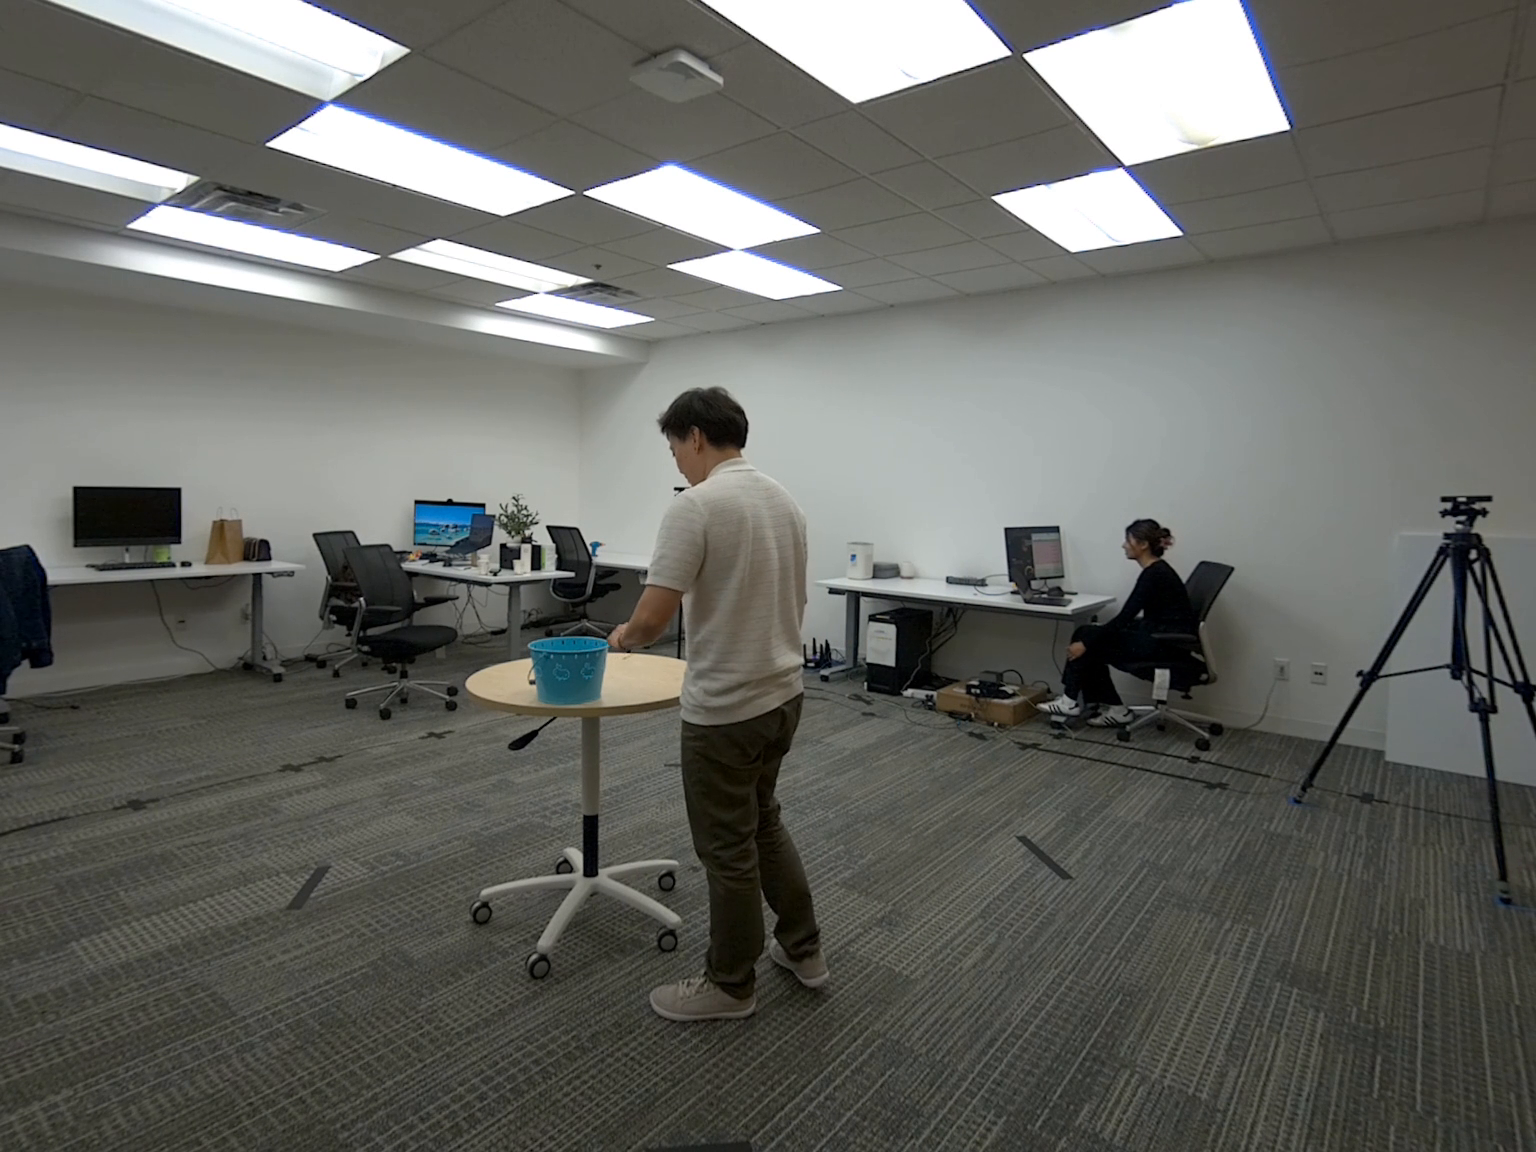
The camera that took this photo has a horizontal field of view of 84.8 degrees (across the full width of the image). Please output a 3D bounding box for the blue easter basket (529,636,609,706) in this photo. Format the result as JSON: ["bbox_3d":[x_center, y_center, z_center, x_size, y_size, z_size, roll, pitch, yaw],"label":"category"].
[{"bbox_3d":[-0.584,0.273,2.440,0.243,0.155,0.245,1,6,-2],"label":"blue easter basket"}]
